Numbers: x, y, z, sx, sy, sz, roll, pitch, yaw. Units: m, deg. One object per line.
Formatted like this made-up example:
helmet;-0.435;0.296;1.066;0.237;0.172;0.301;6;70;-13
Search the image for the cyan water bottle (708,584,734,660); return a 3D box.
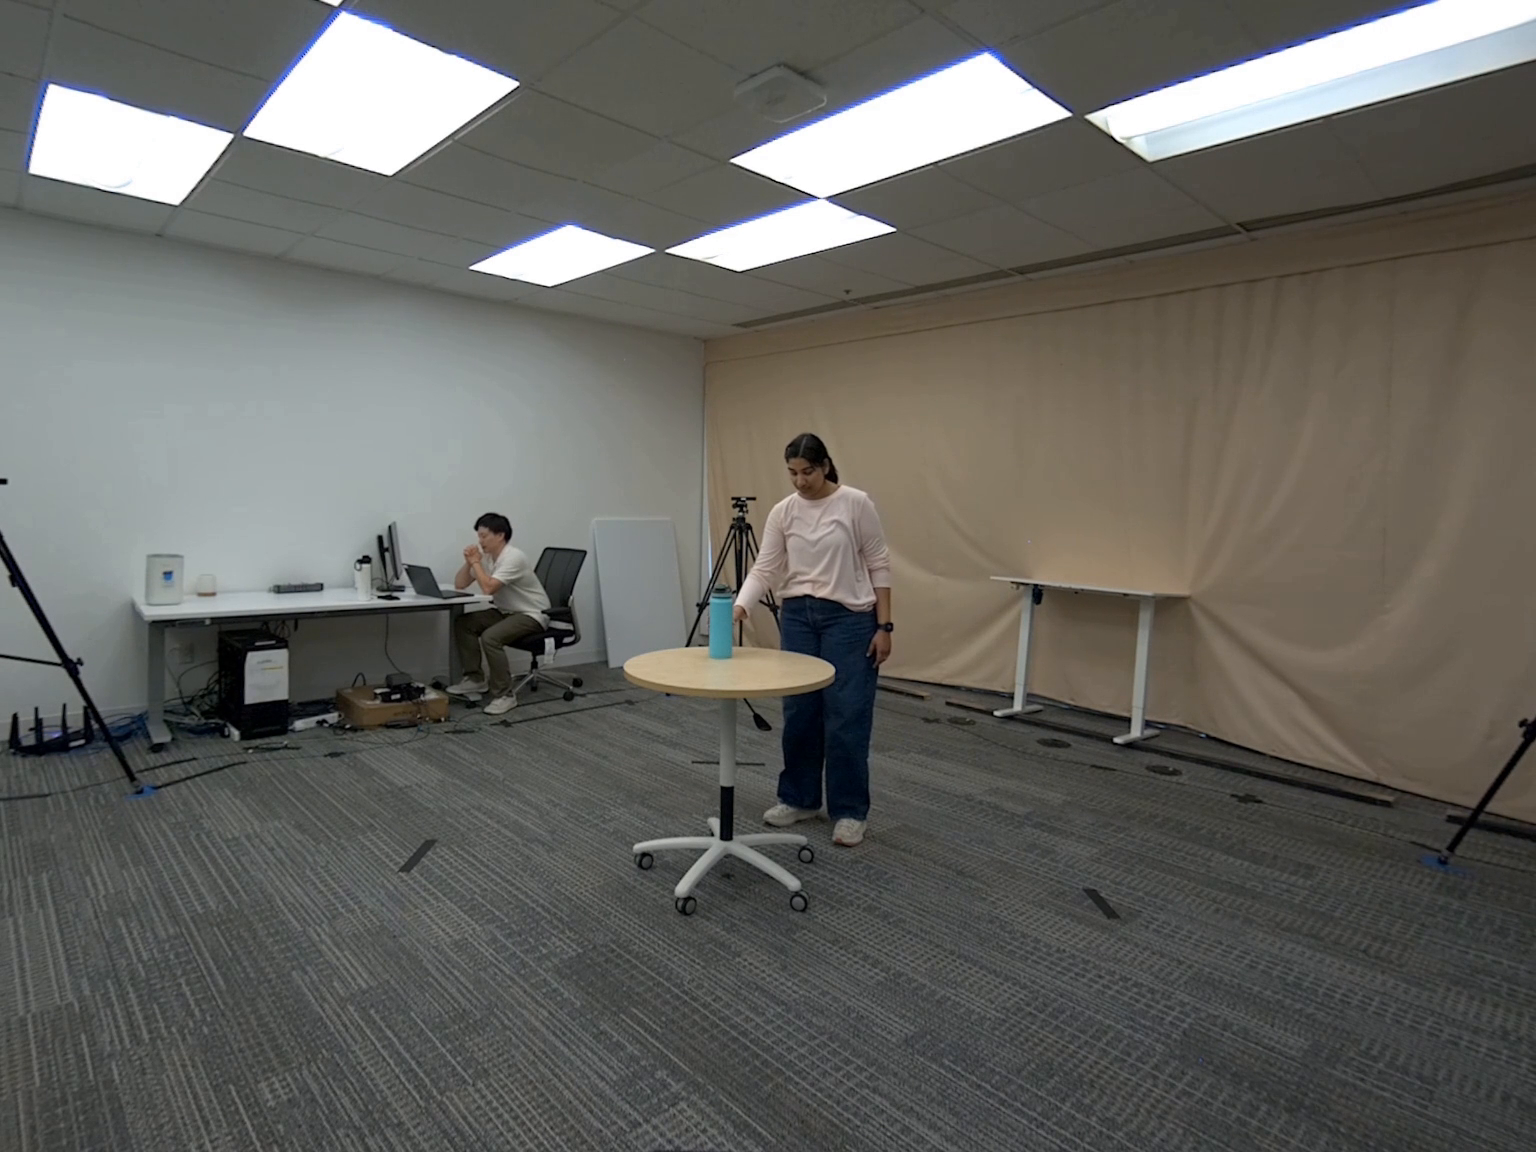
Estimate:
cyan water bottle;-0.189;0.171;3.216;0.092;0.282;0.093;0;4;-1
